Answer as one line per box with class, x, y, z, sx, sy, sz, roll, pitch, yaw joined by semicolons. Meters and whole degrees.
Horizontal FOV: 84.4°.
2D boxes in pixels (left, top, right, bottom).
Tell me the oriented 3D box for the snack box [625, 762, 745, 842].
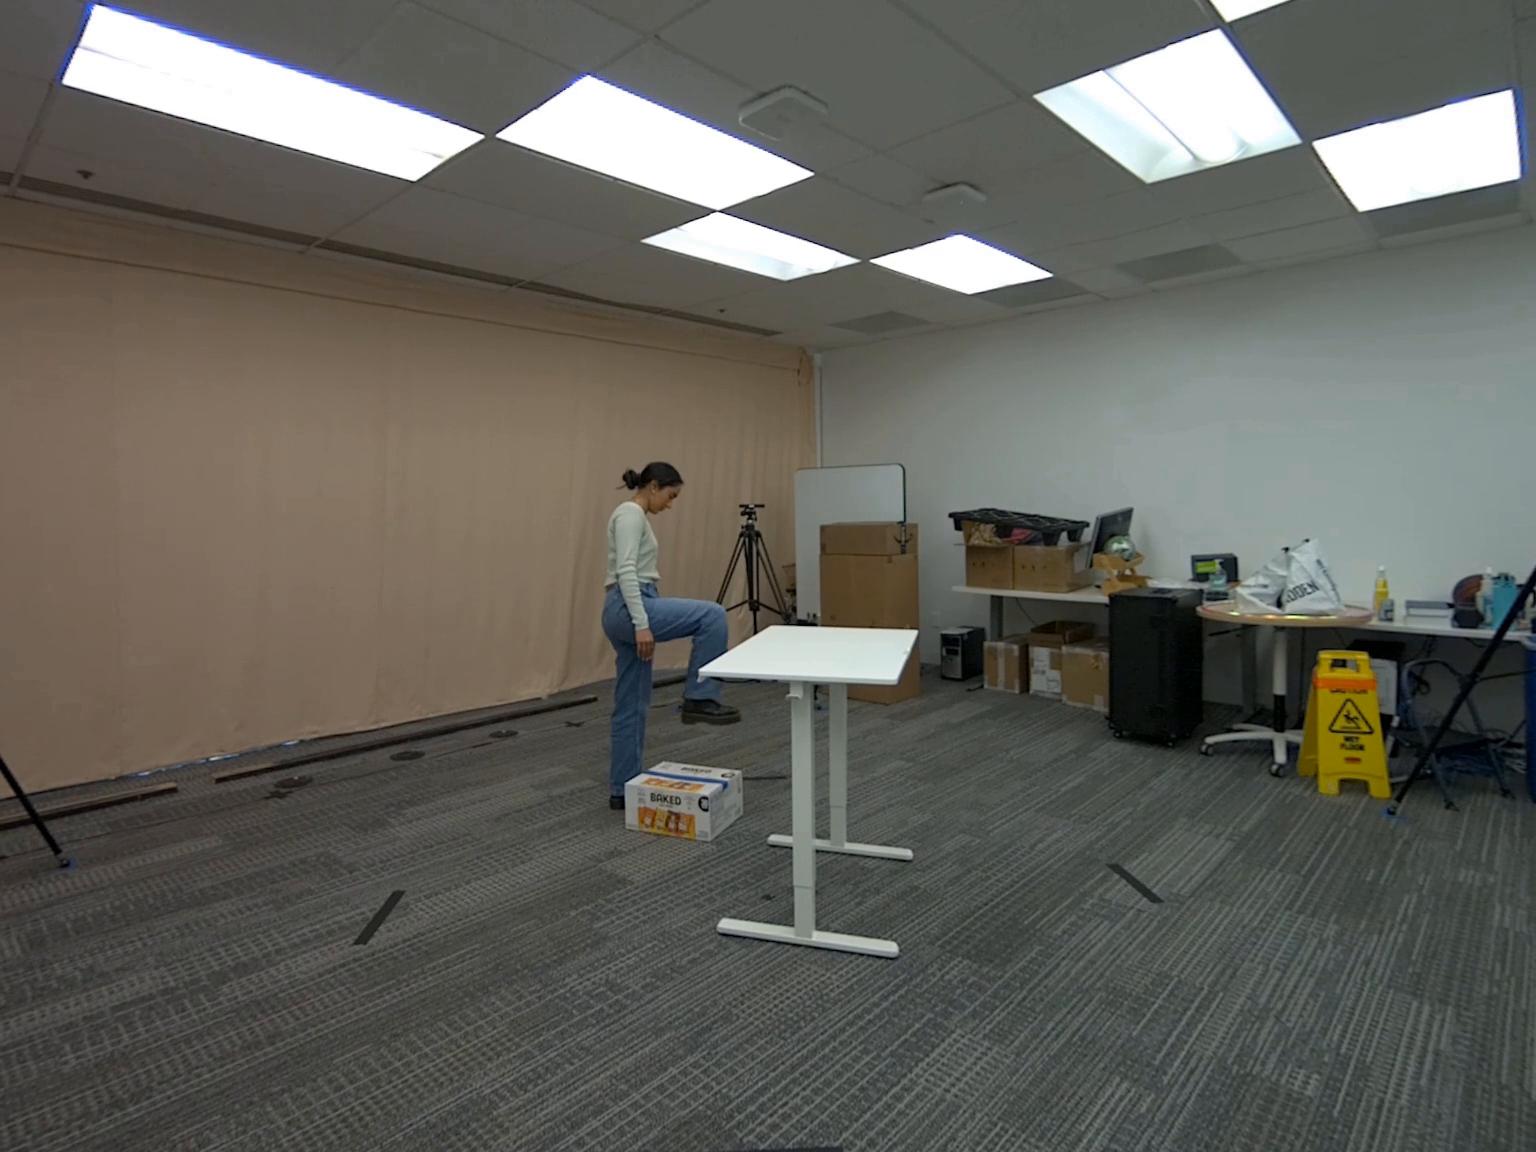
snack box;-0.365;0.985;3.706;0.415;0.205;0.333;0;5;24
